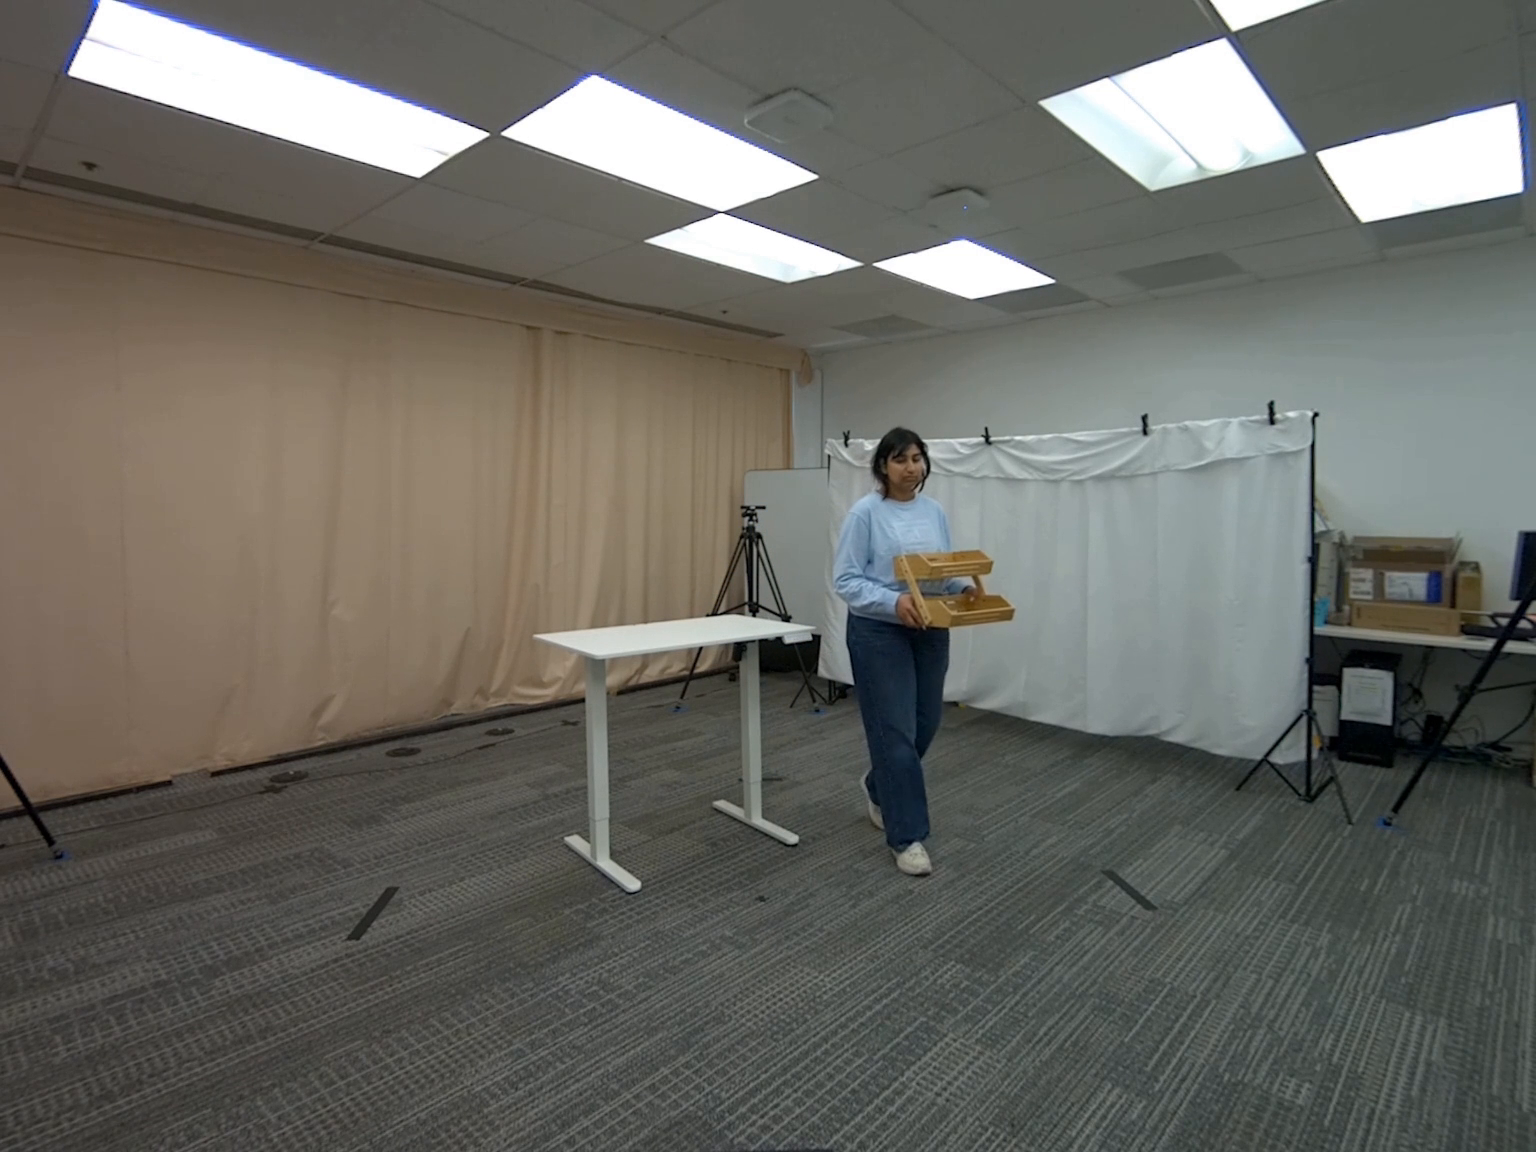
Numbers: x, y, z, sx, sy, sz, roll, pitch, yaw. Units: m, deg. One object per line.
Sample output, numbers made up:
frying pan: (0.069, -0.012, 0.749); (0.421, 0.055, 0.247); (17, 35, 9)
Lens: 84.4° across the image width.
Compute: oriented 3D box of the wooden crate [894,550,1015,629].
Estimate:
wooden crate: (0.688, 0.042, 3.108); (0.316, 0.273, 0.309); (-3, -1, -27)
